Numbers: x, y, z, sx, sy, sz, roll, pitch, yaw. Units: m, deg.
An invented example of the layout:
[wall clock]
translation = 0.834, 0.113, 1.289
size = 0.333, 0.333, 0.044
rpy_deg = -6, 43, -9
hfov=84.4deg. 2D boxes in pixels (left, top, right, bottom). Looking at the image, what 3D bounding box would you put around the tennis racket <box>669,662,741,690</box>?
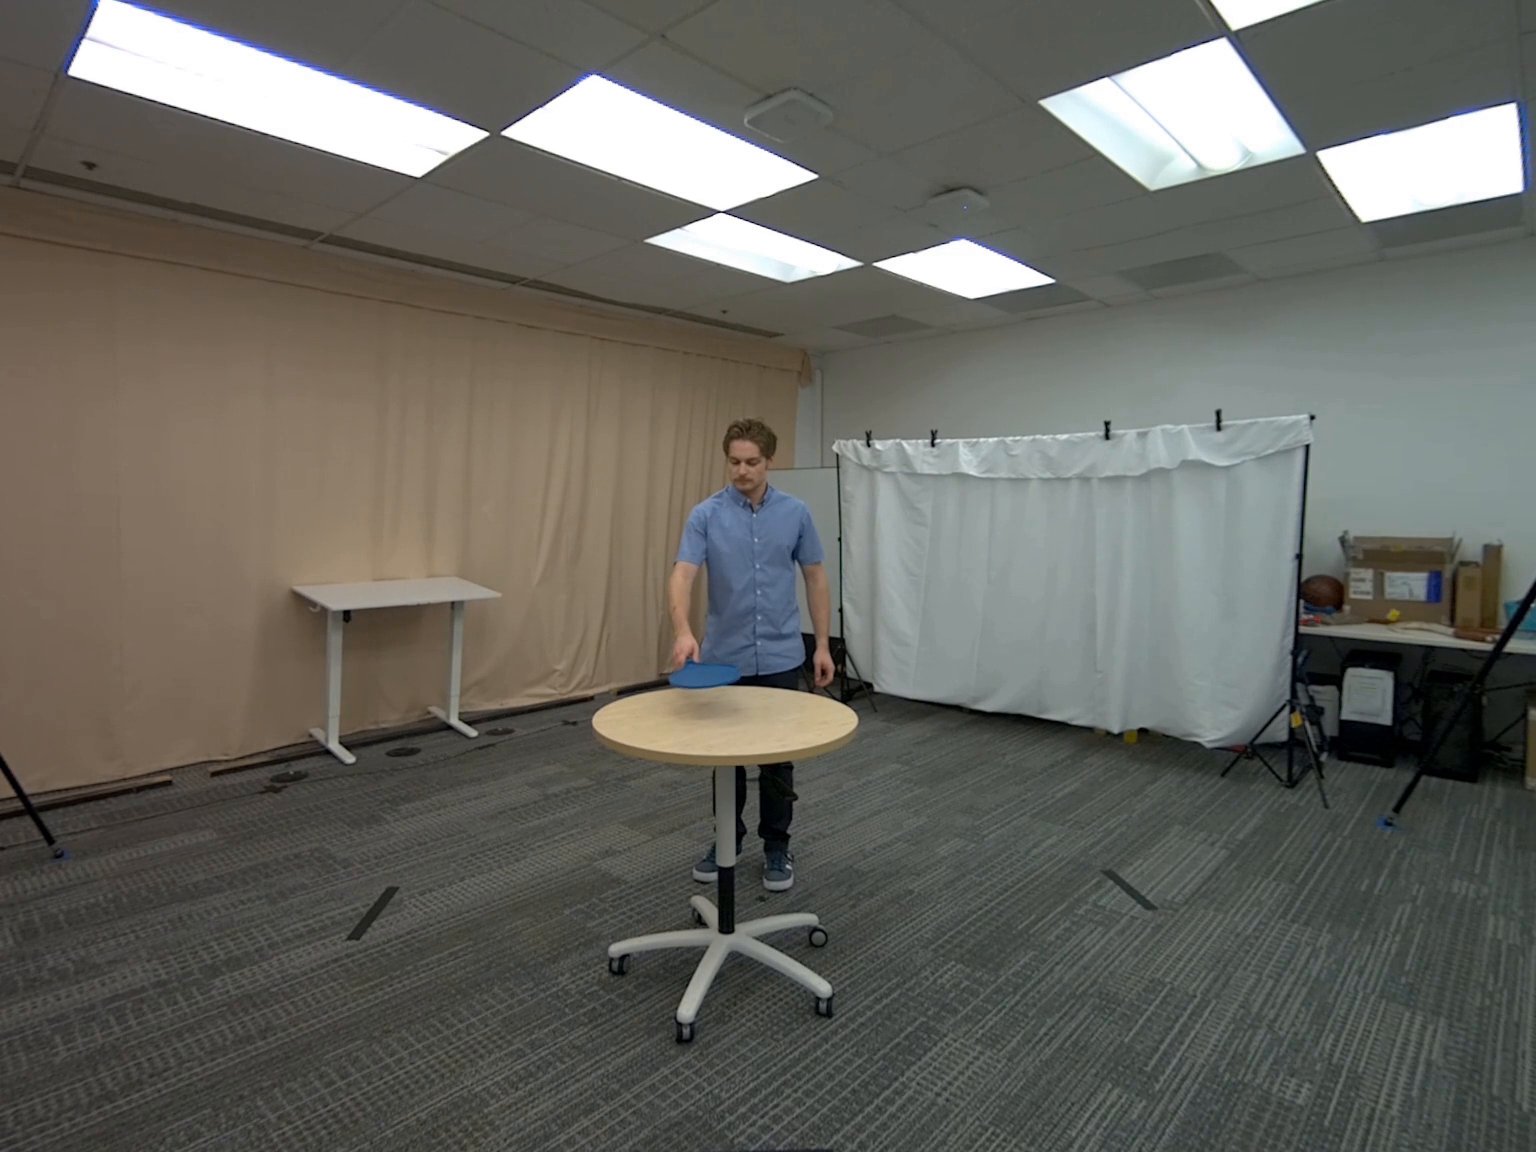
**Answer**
[tennis racket]
translation = -0.224, 0.295, 2.568
size = 0.210, 0.031, 0.441
rpy_deg = -9, 7, -18
